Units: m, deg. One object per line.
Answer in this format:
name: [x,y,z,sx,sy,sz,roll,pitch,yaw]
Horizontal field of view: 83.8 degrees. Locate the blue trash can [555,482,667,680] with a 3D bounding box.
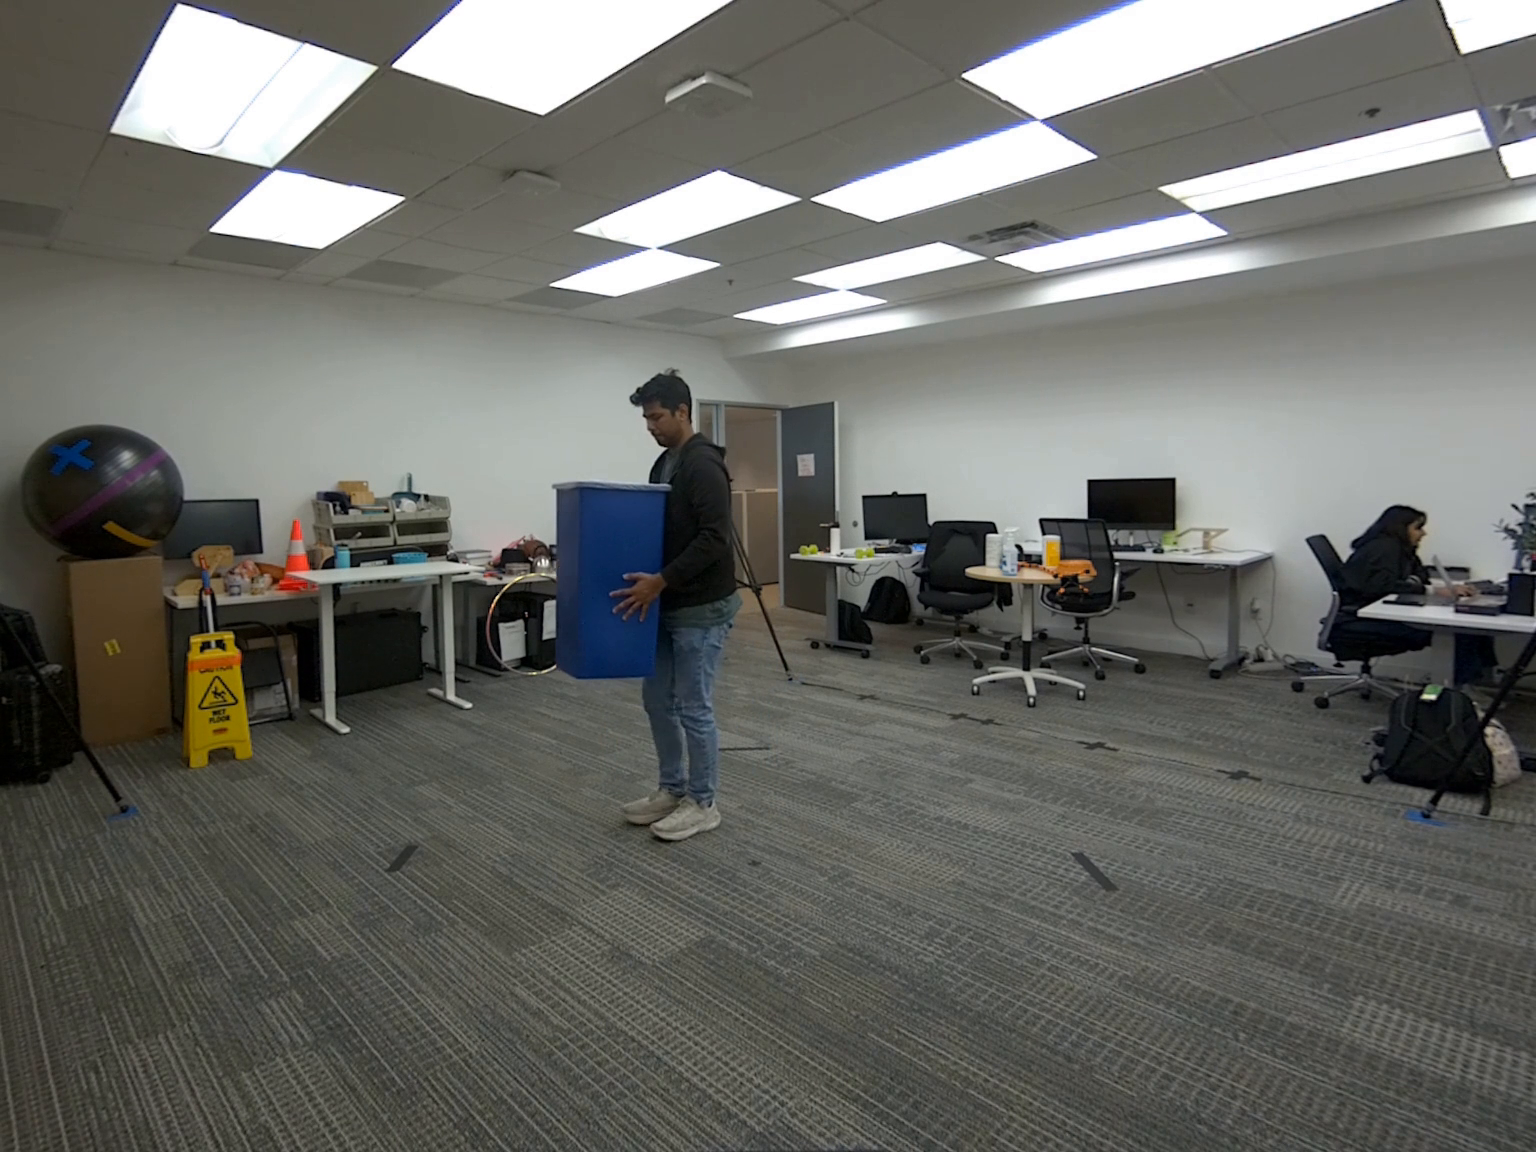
blue trash can: [-0.614,0.006,3.241,0.365,0.714,0.387,2,0,-29]
